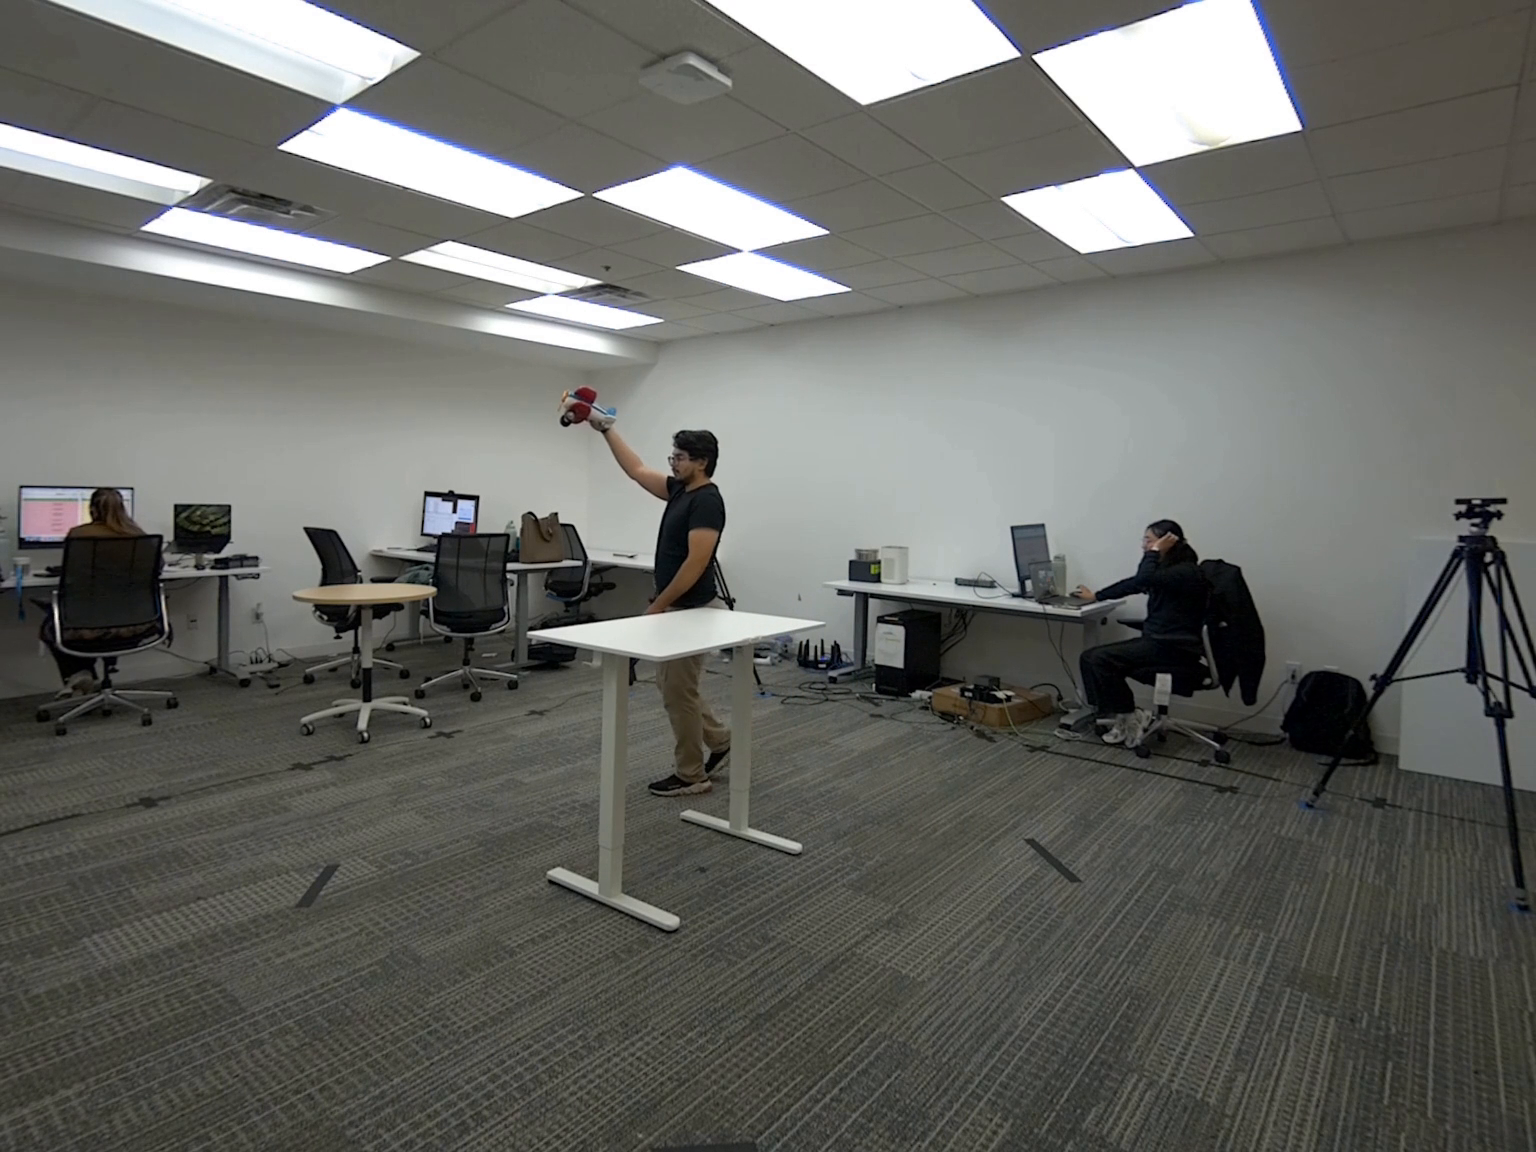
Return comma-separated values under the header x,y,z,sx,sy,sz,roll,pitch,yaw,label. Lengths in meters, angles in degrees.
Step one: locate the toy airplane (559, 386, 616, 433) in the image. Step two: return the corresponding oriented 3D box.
x,y,z,sx,sy,sz,roll,pitch,yaw,label
-0.865,-0.760,3.936,0.258,0.158,0.249,-4,-15,36,toy airplane
